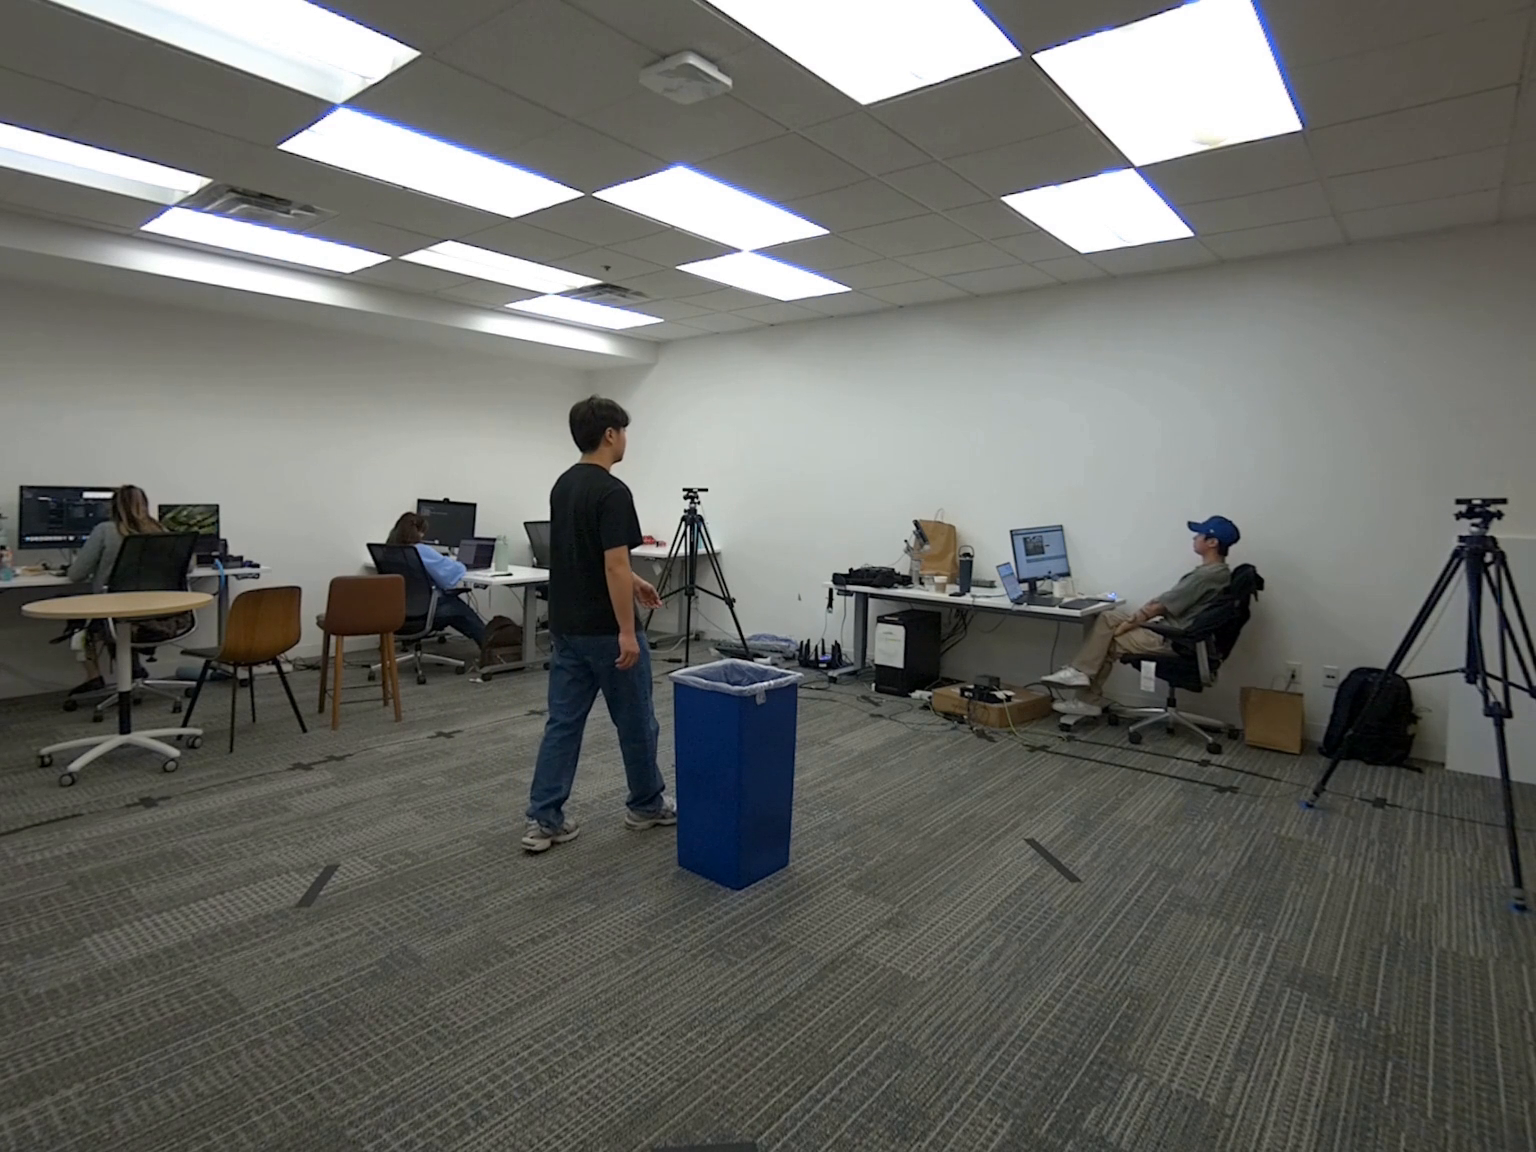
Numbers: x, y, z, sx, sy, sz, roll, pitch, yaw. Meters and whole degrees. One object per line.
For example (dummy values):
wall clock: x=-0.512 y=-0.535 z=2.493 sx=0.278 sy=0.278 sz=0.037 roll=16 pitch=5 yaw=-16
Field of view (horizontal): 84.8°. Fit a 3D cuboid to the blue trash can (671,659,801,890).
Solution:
blue trash can: x=-0.136 y=0.710 z=3.137 sx=0.387 sy=0.712 sz=0.366 roll=4 pitch=4 yaw=39
